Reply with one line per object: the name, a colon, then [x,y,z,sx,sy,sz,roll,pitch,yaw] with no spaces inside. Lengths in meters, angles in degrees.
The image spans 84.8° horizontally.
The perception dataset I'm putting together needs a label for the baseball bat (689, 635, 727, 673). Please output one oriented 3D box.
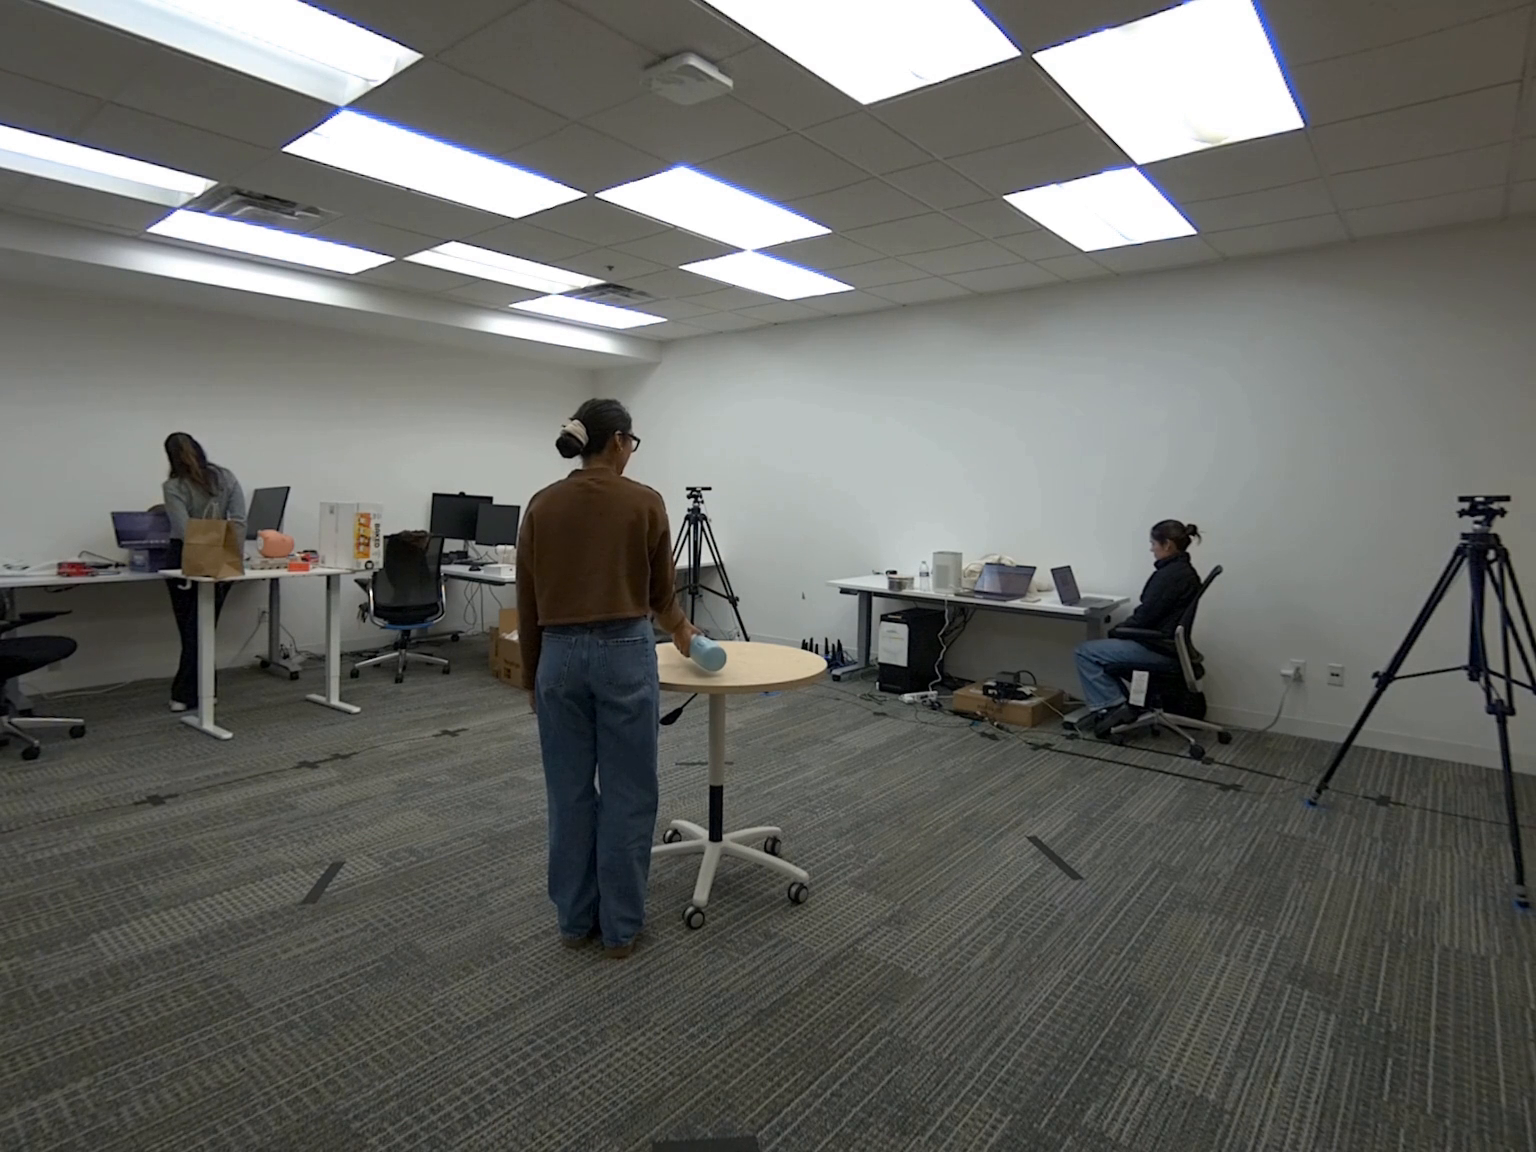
baseball bat: [-0.278,0.233,2.967,0.087,0.088,0.557,-1,6,-22]
